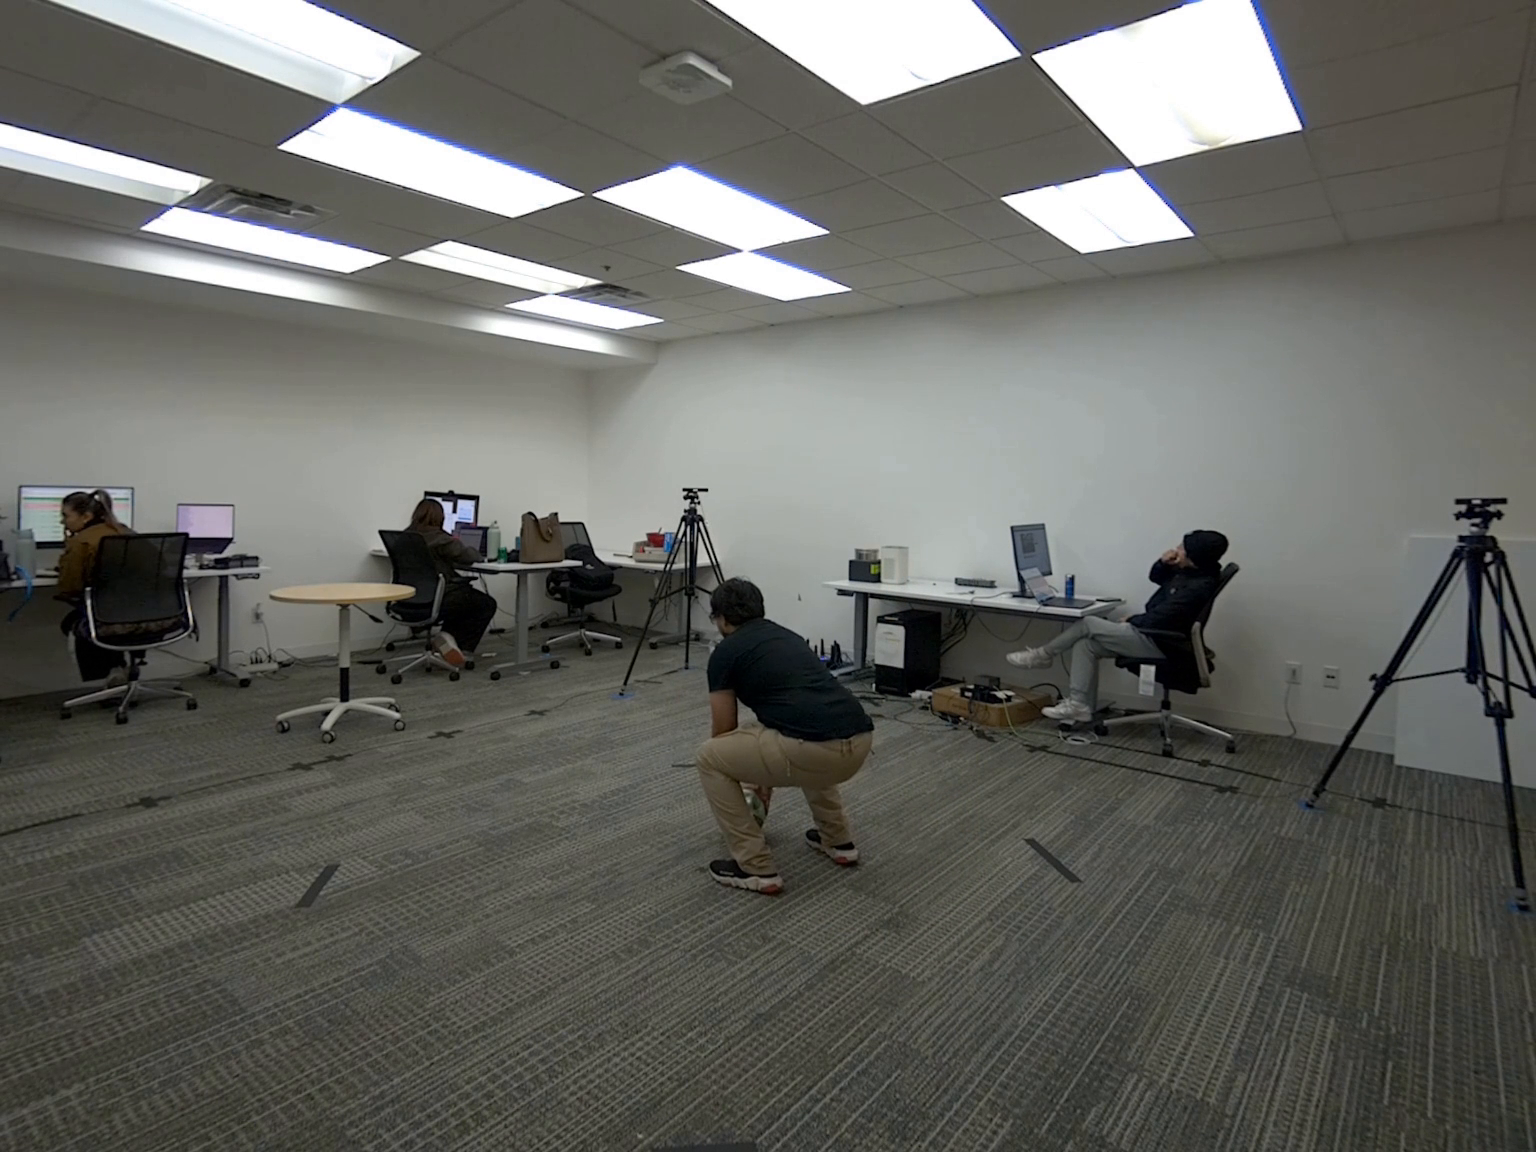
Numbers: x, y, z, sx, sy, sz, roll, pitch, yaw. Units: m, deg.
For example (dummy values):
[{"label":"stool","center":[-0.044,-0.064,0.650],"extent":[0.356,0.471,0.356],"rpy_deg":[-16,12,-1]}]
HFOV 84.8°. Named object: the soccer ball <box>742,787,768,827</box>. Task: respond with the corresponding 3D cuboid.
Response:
[{"label":"soccer ball","center":[-0.106,0.935,3.413],"extent":[0.187,0.187,0.188],"rpy_deg":[1,4,-2]}]
